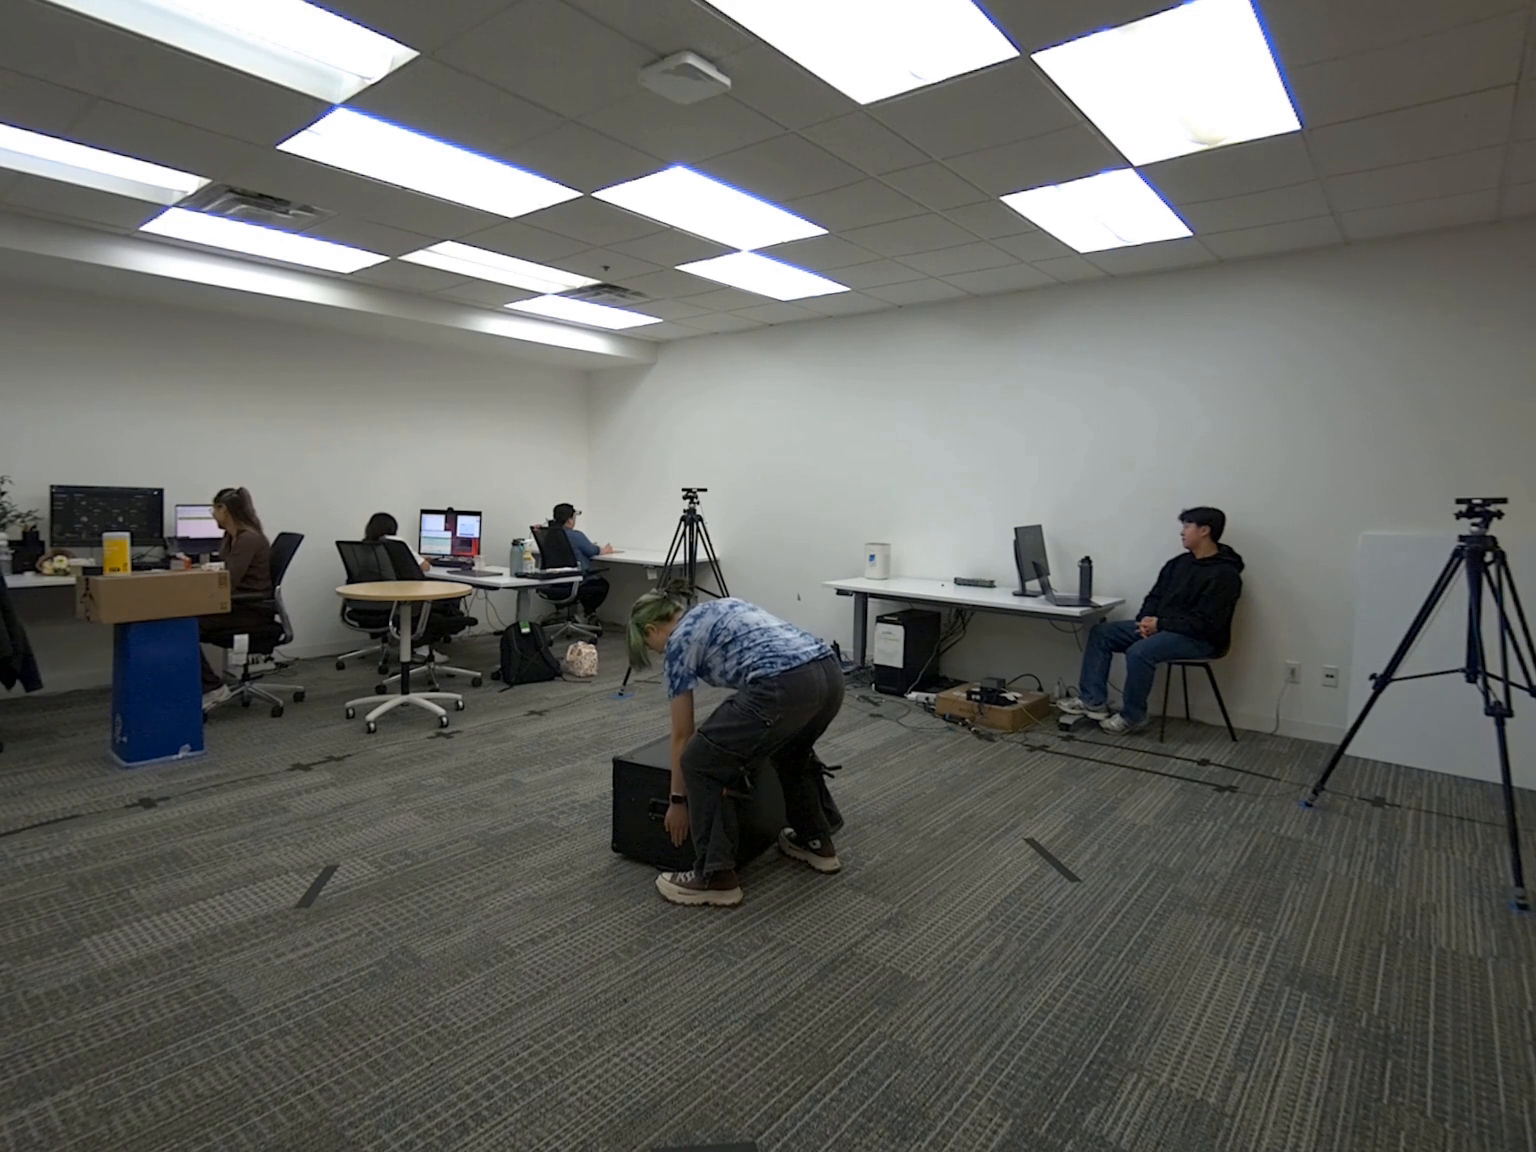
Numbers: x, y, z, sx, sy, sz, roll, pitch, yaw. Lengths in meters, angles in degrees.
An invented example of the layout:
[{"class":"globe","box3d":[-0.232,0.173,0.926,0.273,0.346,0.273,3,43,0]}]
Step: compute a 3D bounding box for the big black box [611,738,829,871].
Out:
[{"class":"big black box","box3d":[-0.194,0.845,3.432,0.536,0.395,0.841,3,6,27]}]
